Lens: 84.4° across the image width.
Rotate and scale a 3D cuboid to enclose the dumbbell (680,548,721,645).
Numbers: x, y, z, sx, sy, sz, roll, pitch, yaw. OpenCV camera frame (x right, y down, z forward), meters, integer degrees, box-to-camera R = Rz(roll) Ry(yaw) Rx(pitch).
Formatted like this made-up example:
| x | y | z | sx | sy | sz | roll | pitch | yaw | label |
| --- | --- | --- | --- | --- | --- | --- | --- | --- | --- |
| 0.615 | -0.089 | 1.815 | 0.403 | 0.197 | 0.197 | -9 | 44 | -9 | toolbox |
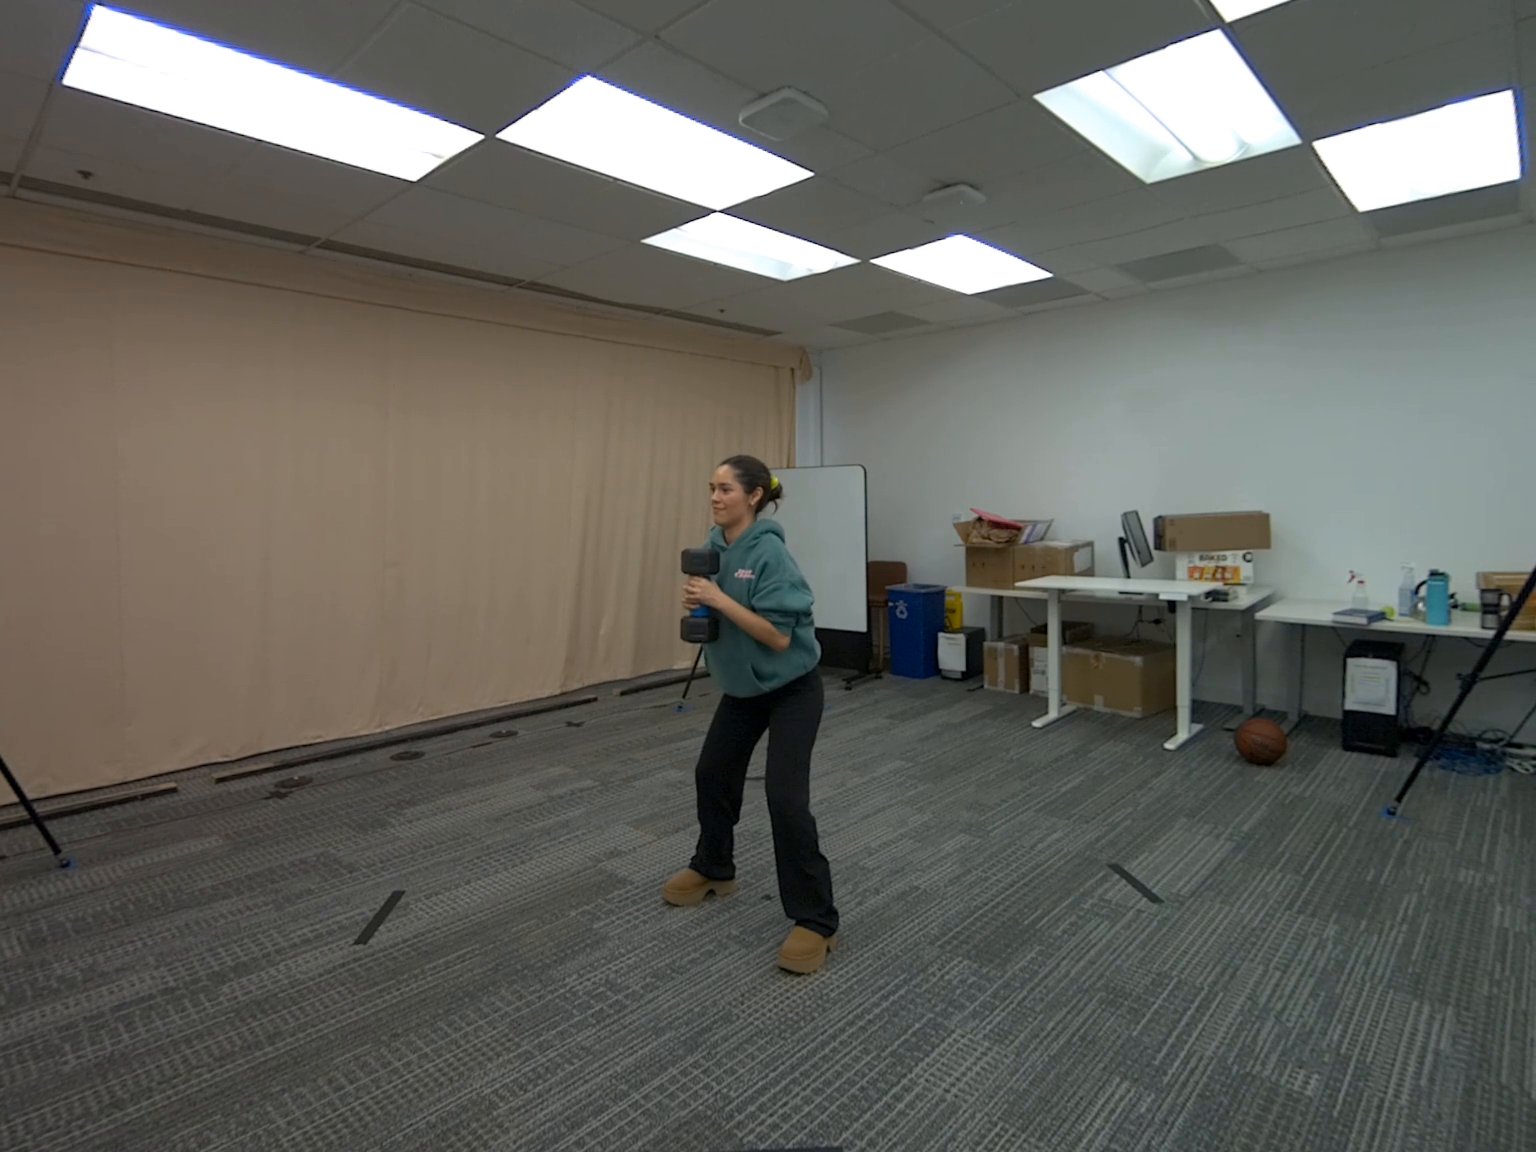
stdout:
| x | y | z | sx | sy | sz | roll | pitch | yaw | label |
| --- | --- | --- | --- | --- | --- | --- | --- | --- | --- |
| -0.211 | 0.072 | 2.665 | 0.123 | 0.294 | 0.108 | 0 | -1 | 0 | dumbbell |
